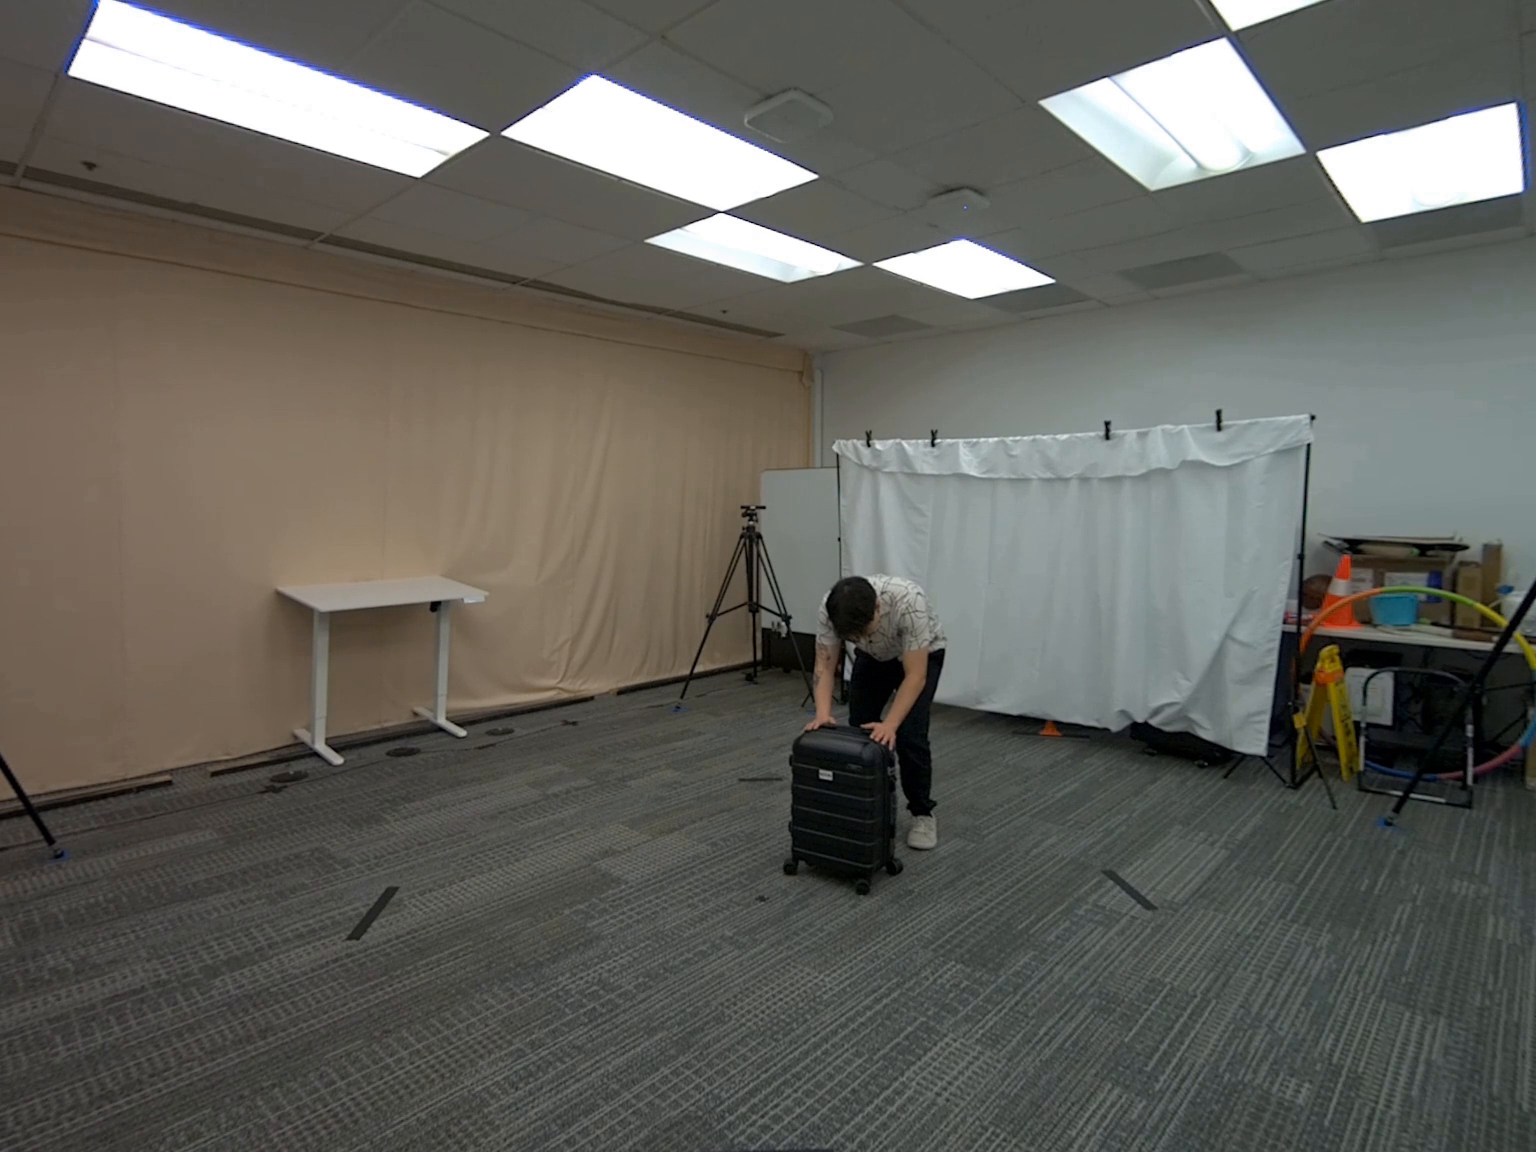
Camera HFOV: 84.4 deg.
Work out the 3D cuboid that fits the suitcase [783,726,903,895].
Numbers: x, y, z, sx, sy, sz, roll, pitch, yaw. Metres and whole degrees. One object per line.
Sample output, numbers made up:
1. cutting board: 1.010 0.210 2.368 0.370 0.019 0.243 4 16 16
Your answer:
1. suitcase: 0.289 0.852 3.172 0.387 0.548 0.241 2 4 33
